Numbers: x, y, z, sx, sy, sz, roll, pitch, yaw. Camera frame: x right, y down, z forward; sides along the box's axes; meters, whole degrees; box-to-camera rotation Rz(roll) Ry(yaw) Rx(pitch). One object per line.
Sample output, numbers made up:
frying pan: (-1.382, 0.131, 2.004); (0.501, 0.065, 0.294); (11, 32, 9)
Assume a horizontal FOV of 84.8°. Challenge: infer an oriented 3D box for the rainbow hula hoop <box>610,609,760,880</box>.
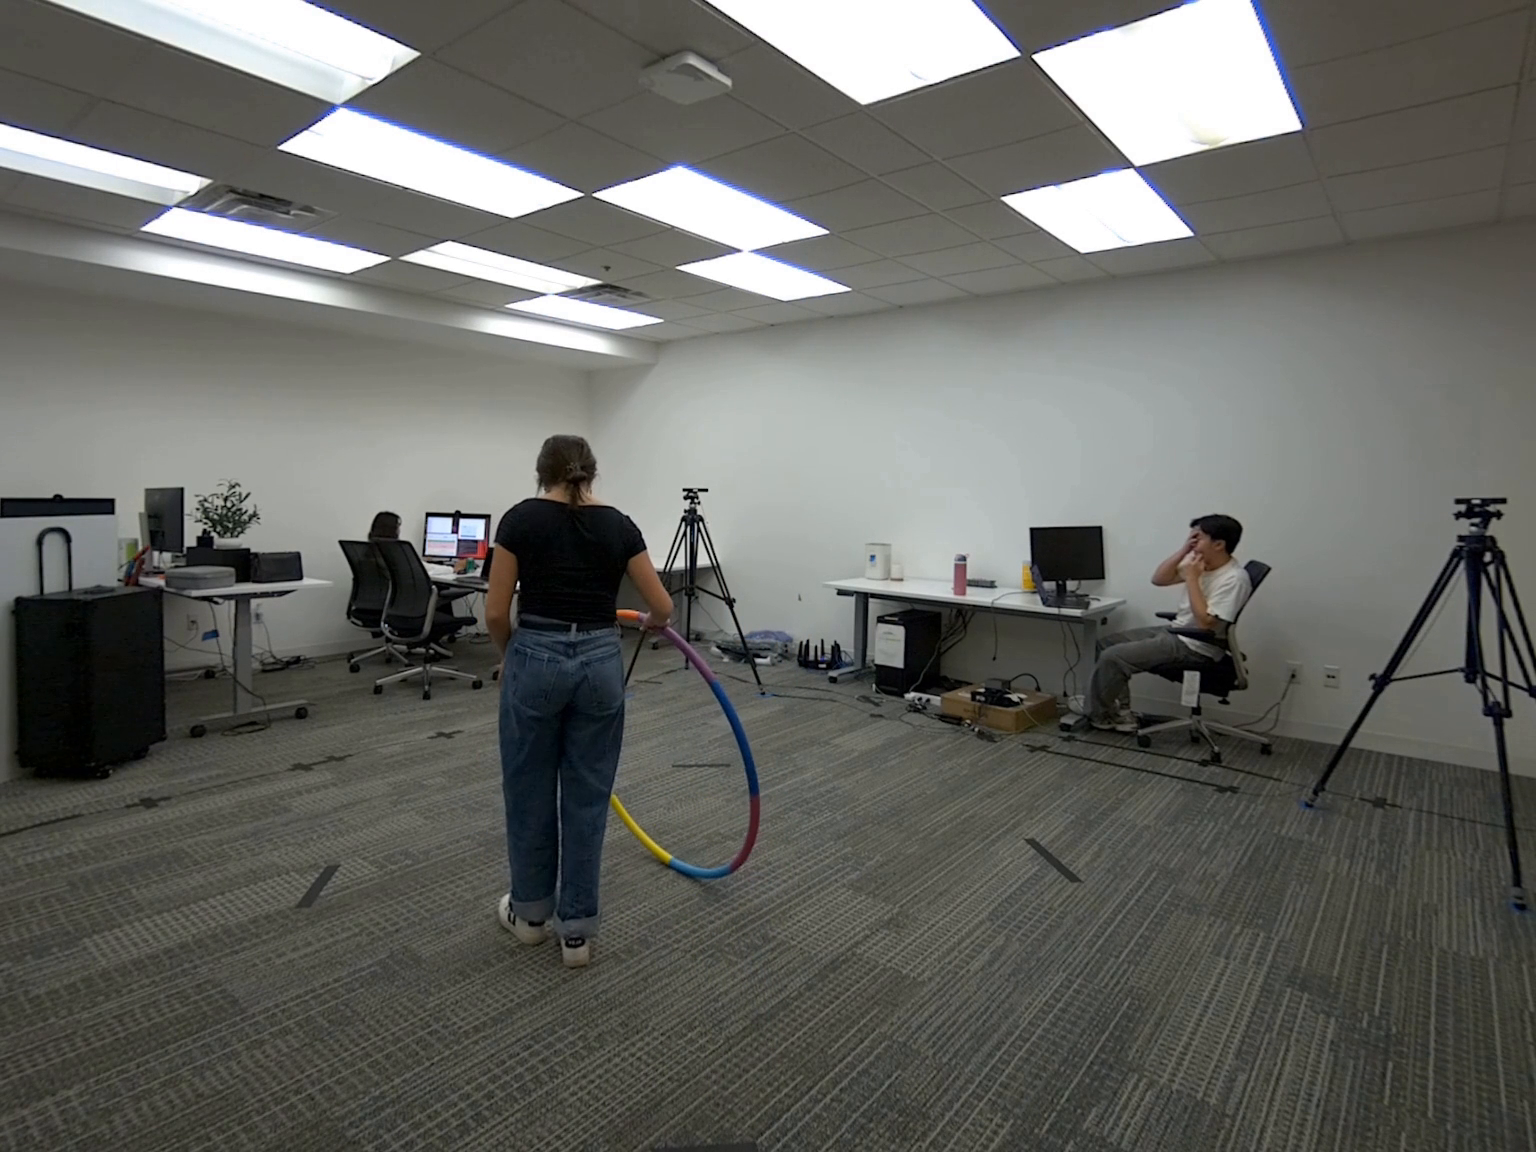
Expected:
rainbow hula hoop: (-0.398, 0.592, 2.998); (1.012, 0.965, 0.035); (5, 19, 45)
